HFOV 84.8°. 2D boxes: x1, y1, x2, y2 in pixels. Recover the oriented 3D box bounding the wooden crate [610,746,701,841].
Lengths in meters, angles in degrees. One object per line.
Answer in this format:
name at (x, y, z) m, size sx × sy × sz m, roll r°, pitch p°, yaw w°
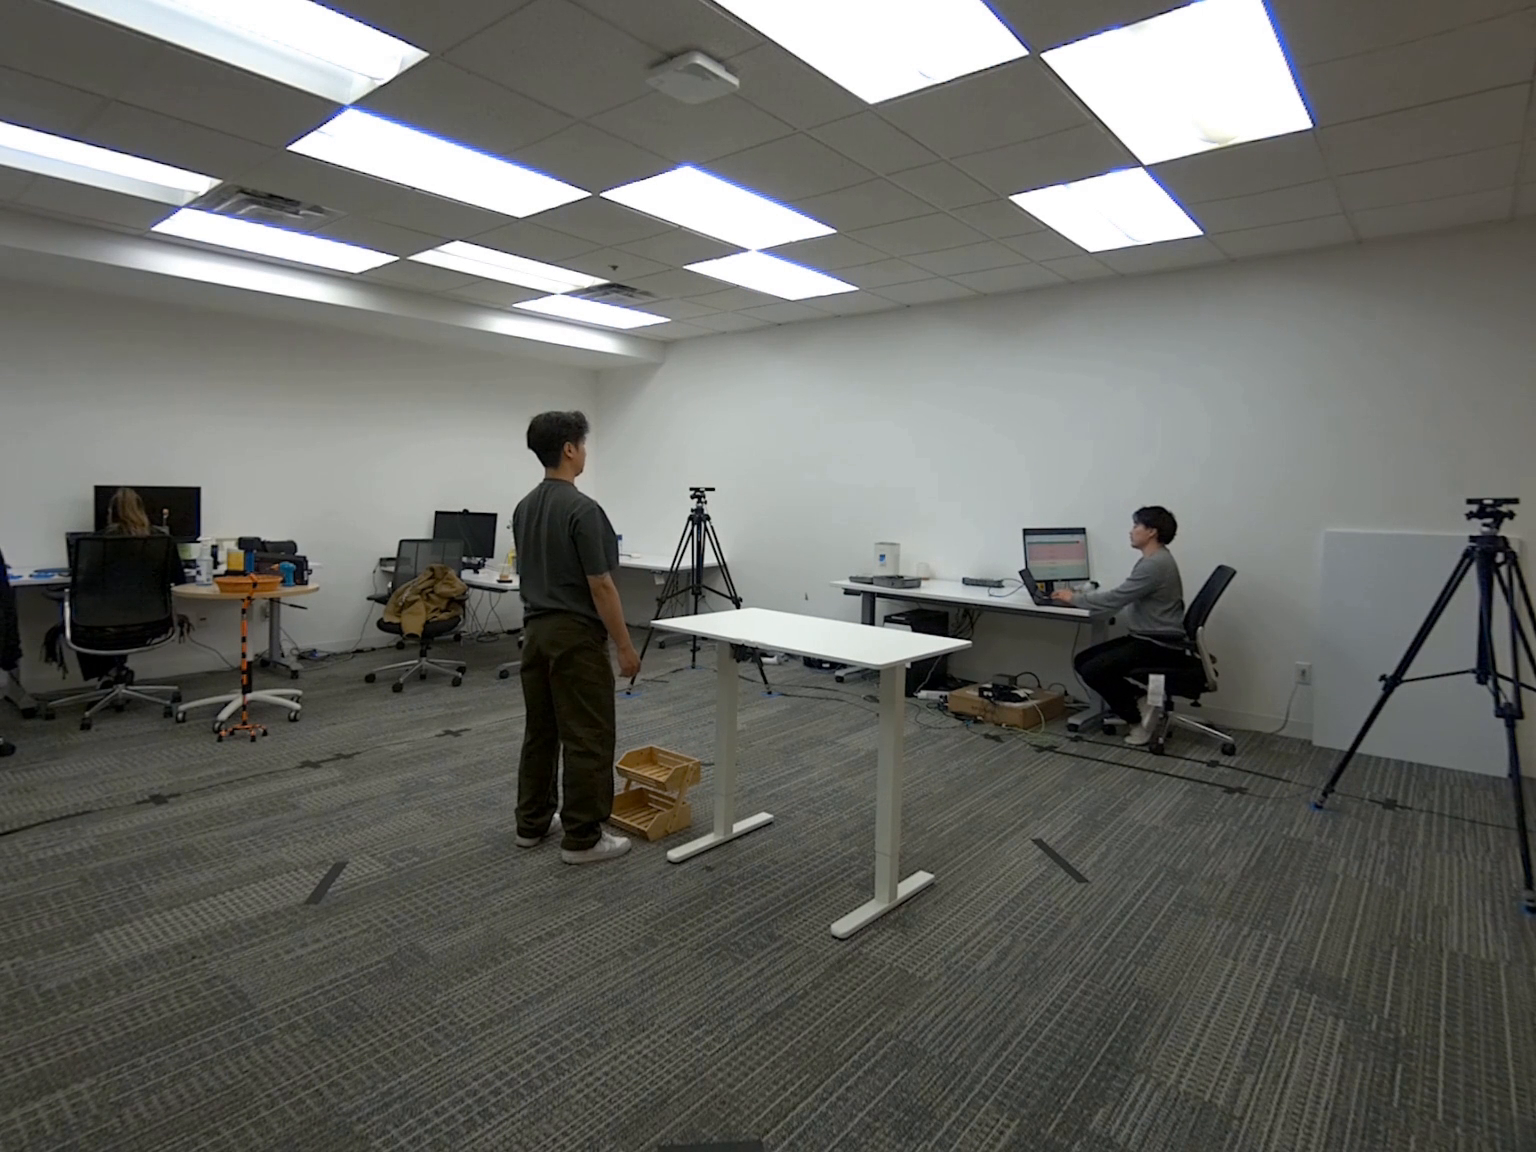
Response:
wooden crate at (-0.509, 0.885, 3.531) m, size 0.335 × 0.272 × 0.293 m, roll 4°, pitch 5°, yaw 41°
